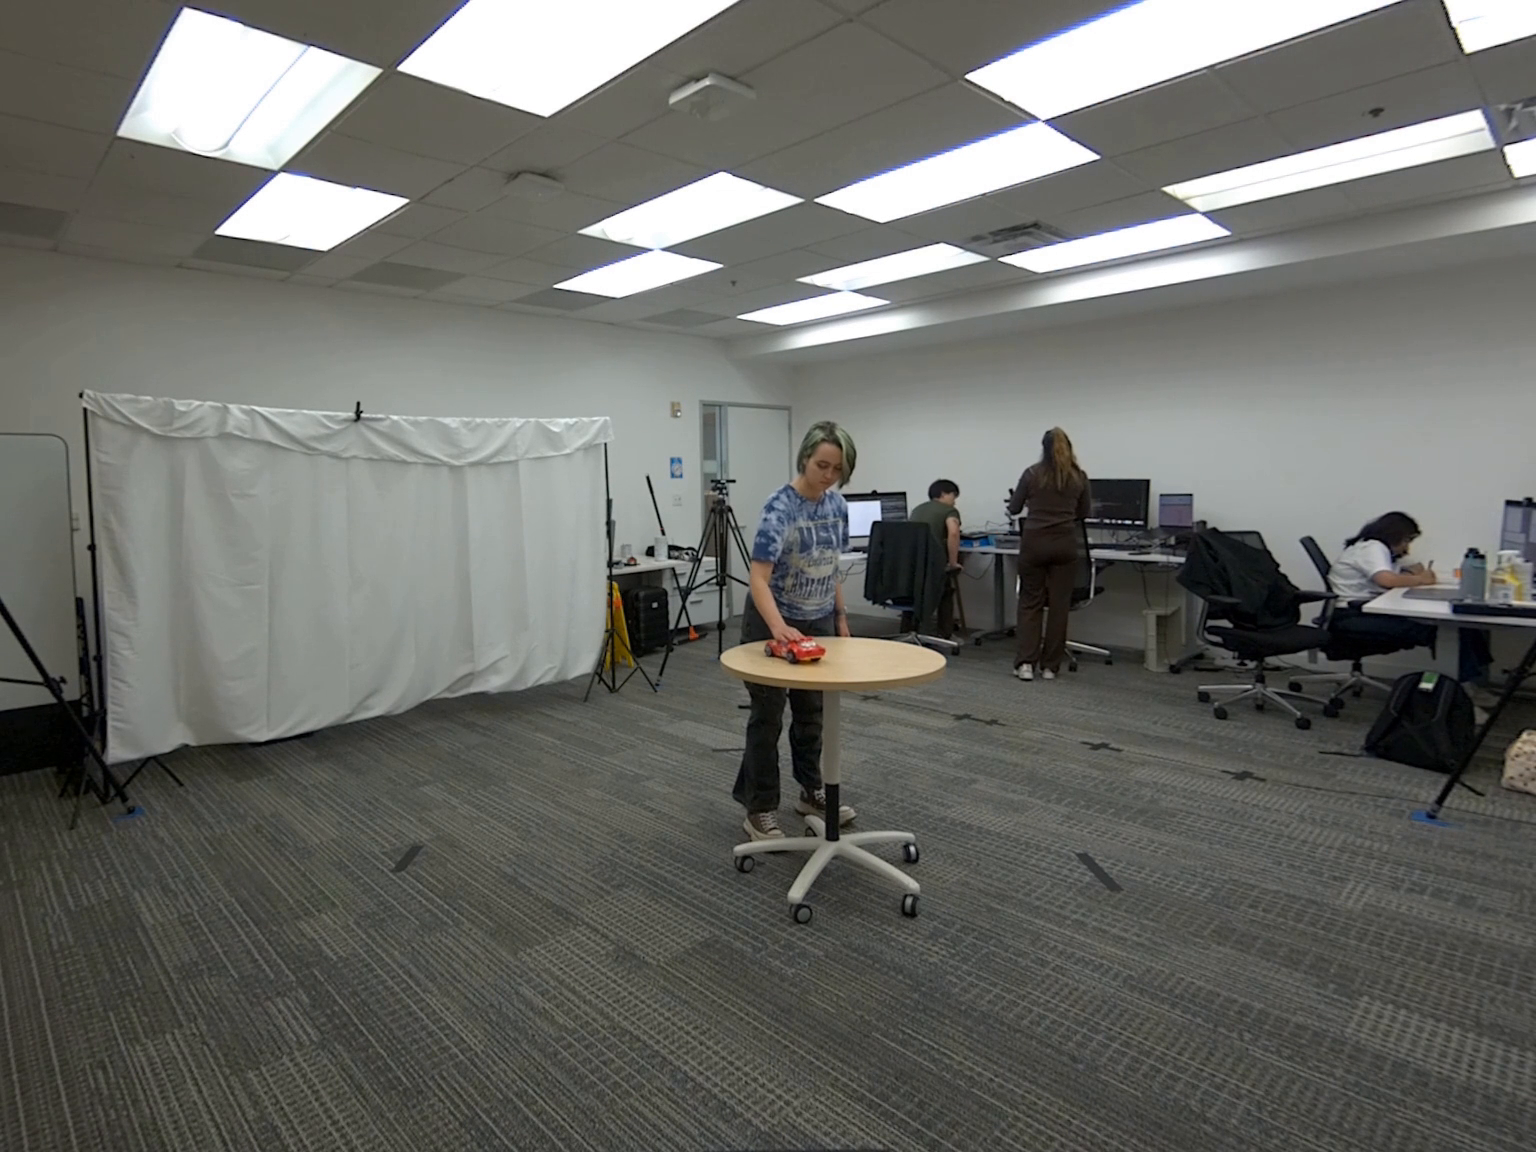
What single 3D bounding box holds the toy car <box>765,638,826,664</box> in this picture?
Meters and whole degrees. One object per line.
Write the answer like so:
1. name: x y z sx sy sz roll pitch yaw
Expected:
1. toy car: 0.098 0.256 2.894 0.127 0.084 0.259 -3 -5 -29
